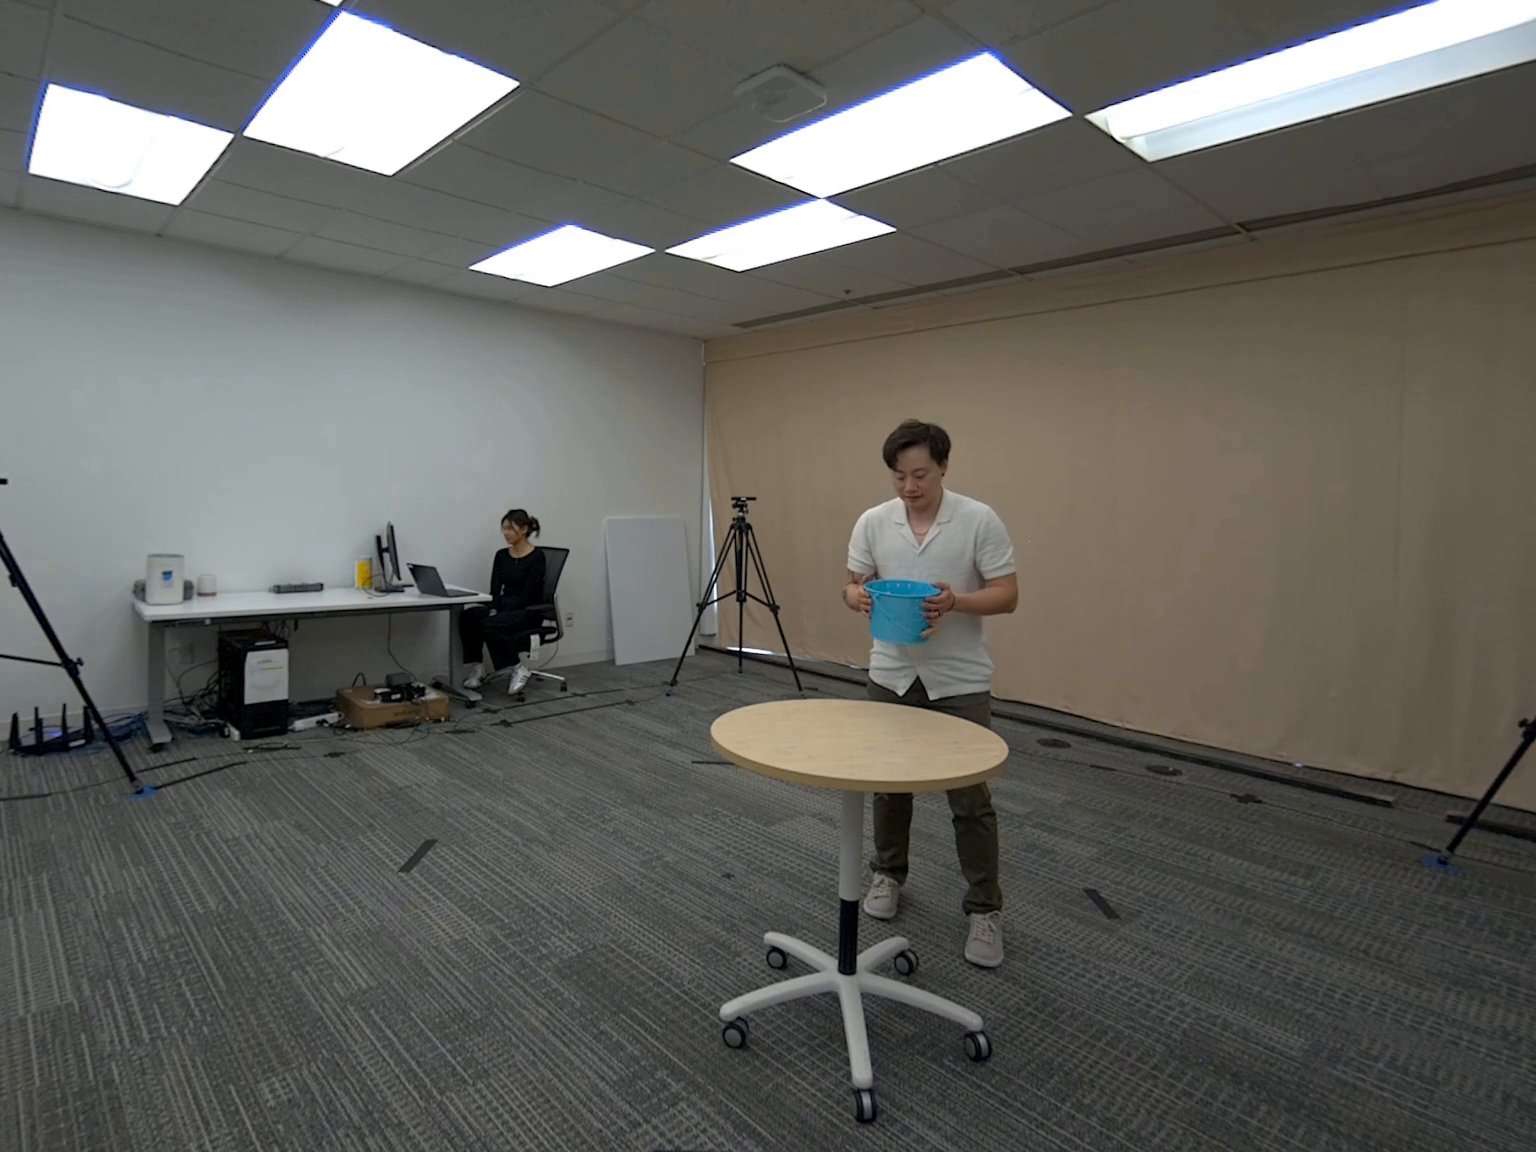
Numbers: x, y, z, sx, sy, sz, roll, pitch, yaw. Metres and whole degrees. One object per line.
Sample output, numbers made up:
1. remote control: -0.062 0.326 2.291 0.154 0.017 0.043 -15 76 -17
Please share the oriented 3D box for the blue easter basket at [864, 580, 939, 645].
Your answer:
1. blue easter basket: 0.425 0.110 2.551 0.243 0.155 0.245 0 10 -1
